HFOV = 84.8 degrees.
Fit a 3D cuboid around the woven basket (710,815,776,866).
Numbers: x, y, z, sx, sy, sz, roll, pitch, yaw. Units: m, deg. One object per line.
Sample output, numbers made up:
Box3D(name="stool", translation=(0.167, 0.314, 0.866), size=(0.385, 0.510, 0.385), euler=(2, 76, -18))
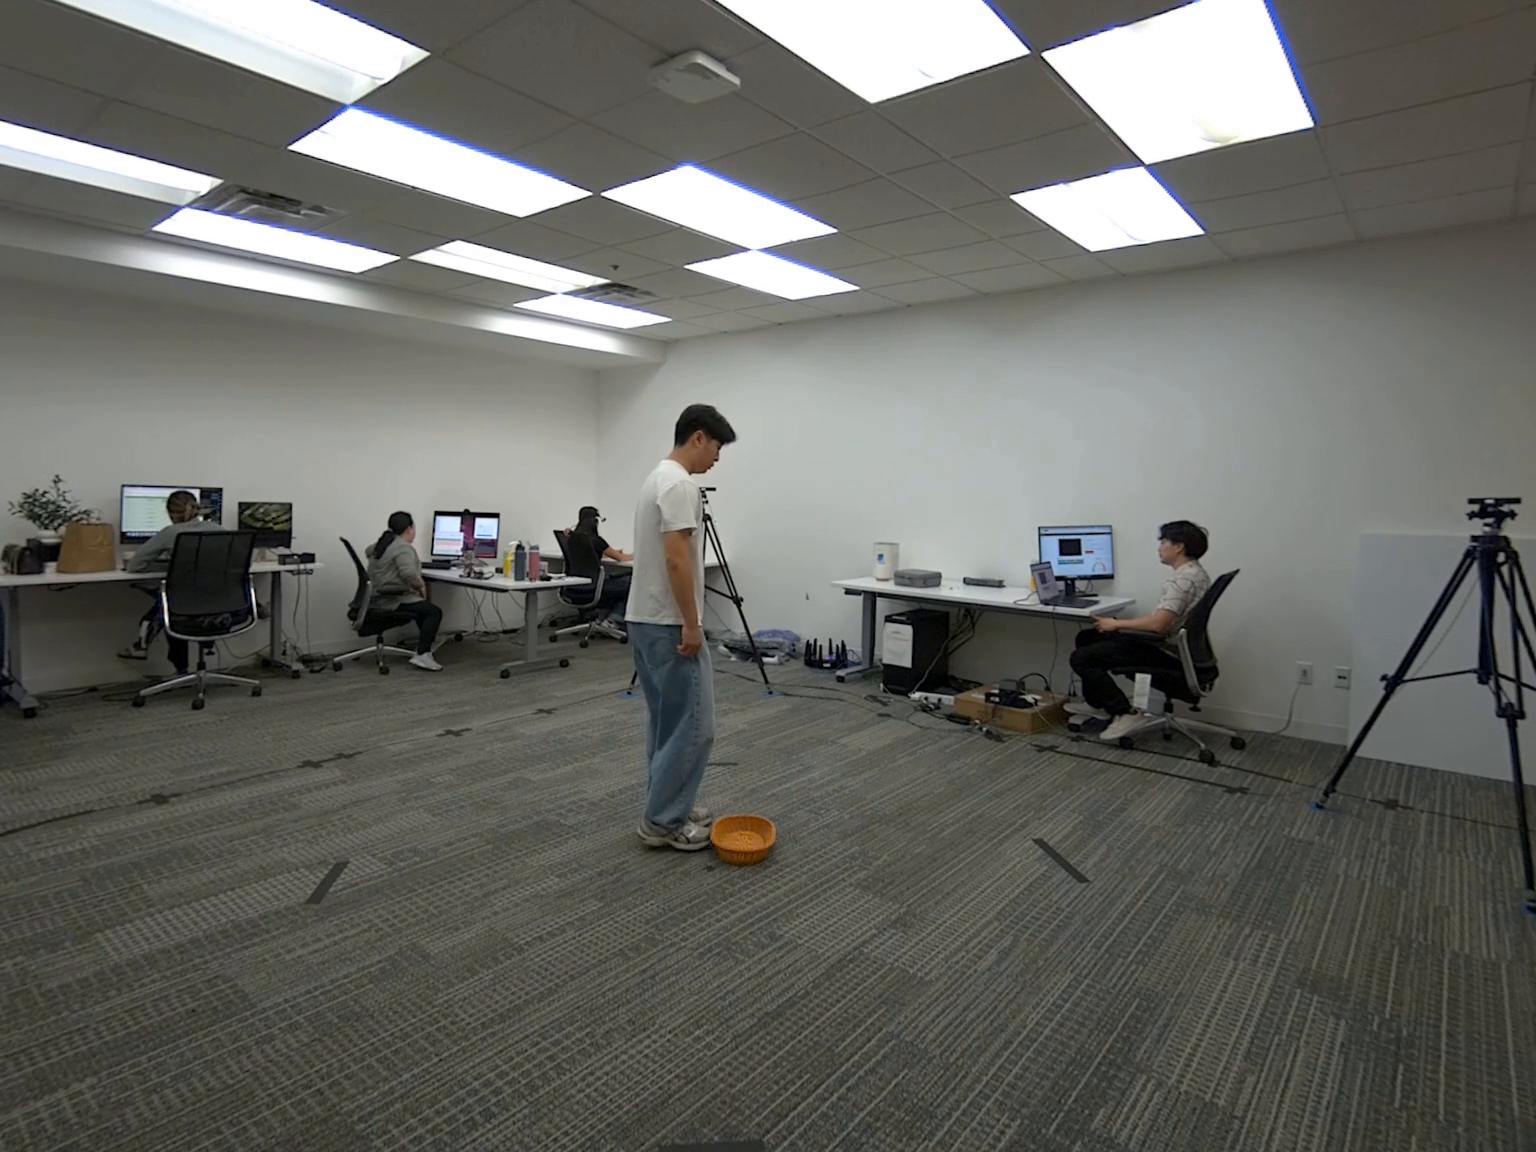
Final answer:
Box3D(name="woven basket", translation=(-0.088, 1.011, 3.280), size=(0.255, 0.073, 0.349), euler=(2, 6, 7))
